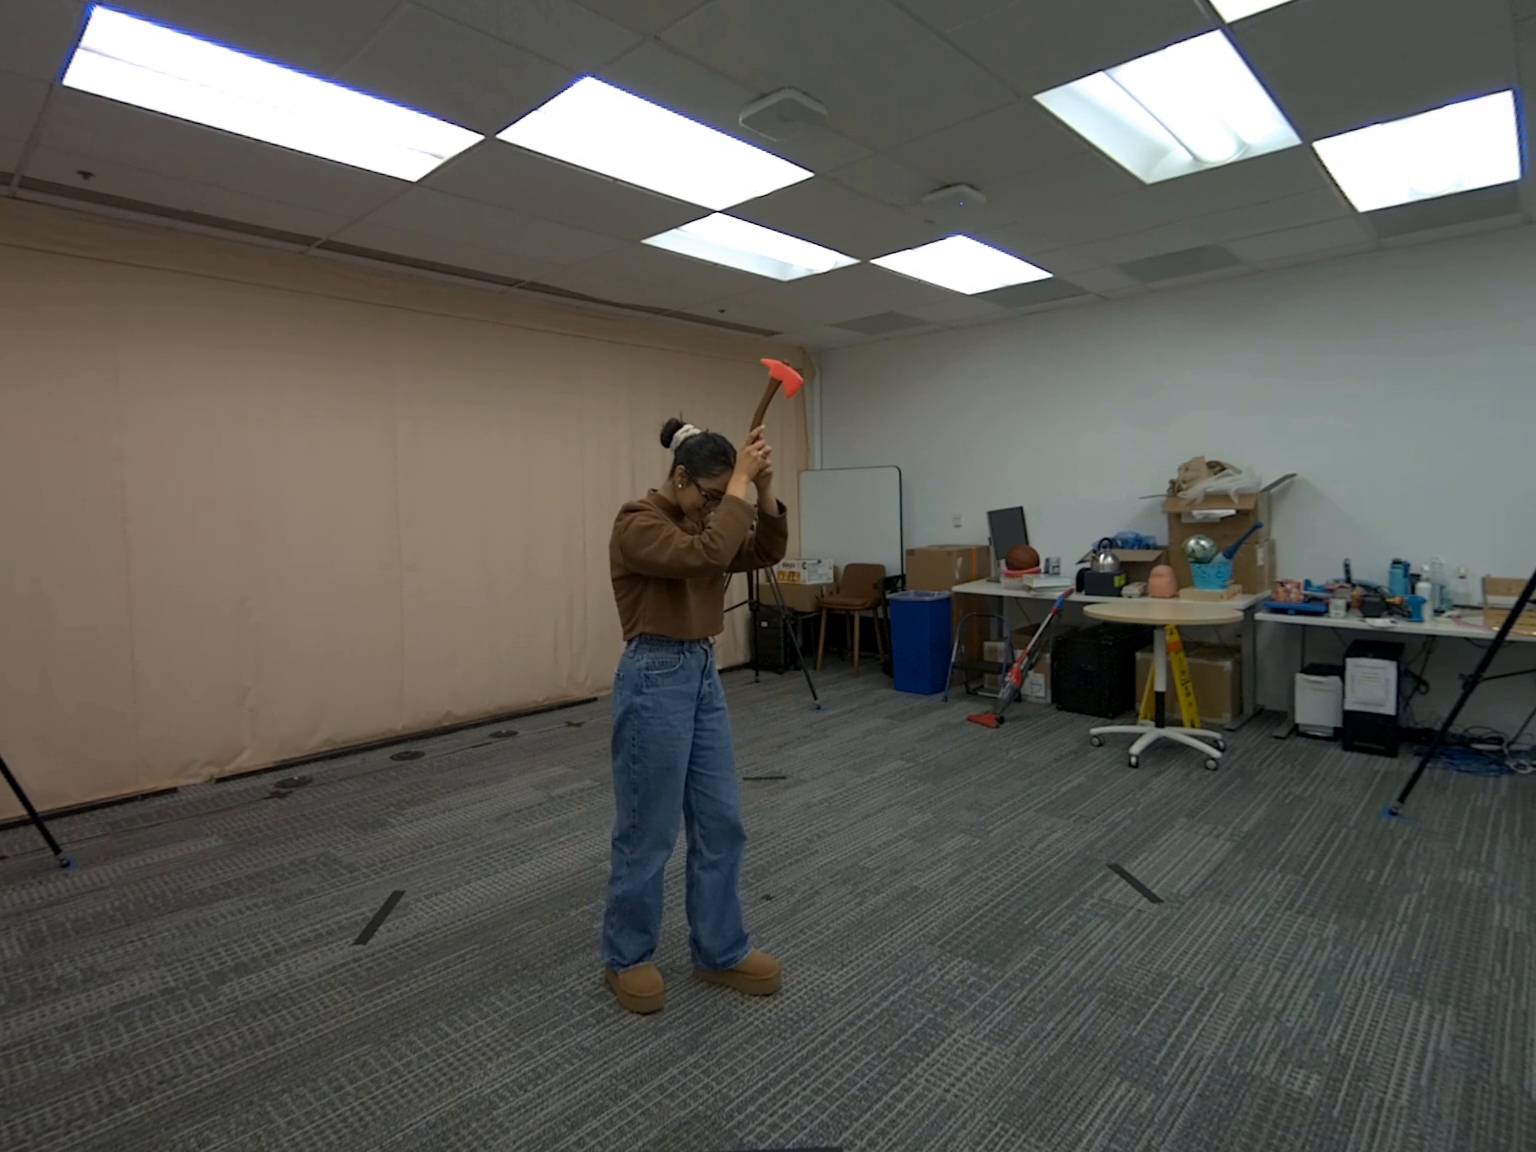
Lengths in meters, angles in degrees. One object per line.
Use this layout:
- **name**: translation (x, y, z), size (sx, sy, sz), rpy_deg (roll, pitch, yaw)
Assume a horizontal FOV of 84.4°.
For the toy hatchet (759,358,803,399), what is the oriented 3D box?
- **toy hatchet**: translation (0.021, -0.436, 2.204), size (0.134, 0.269, 0.029), rpy_deg (16, 12, 22)
